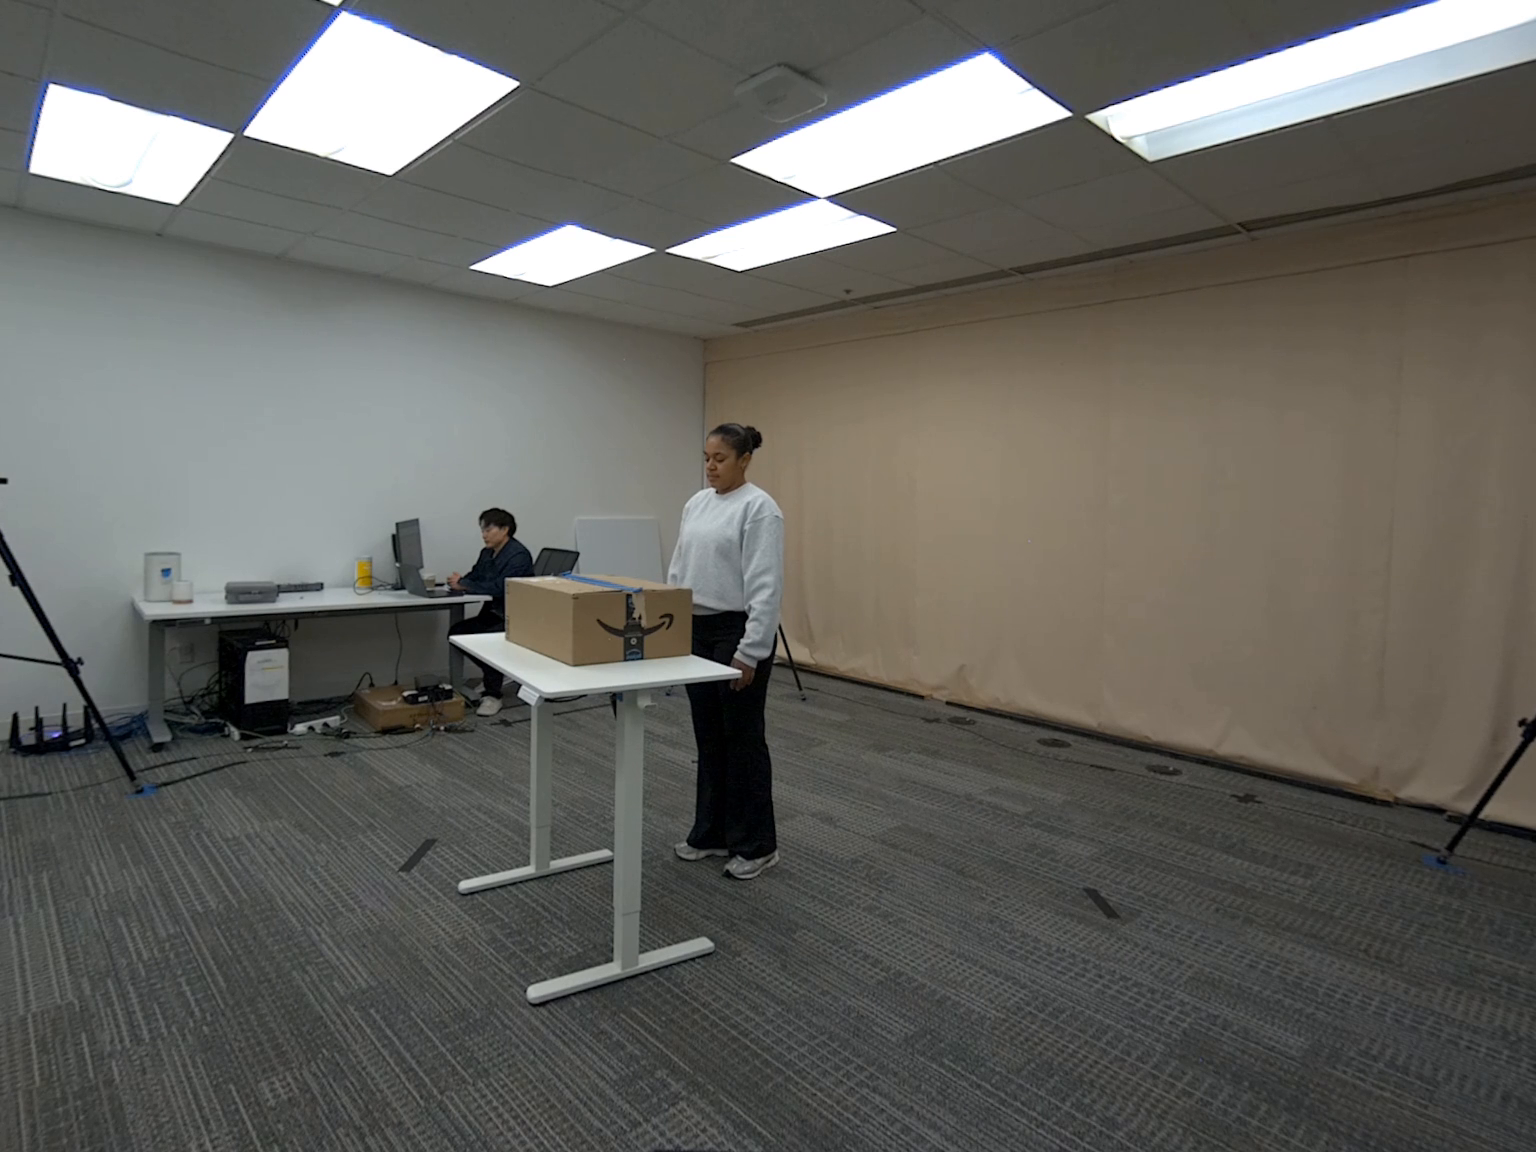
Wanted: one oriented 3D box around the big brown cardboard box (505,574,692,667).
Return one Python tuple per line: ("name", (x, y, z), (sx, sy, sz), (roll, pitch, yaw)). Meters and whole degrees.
("big brown cardboard box", (-0.584, 0.130, 2.824), (0.408, 0.232, 0.604), (-2, 6, -36))
